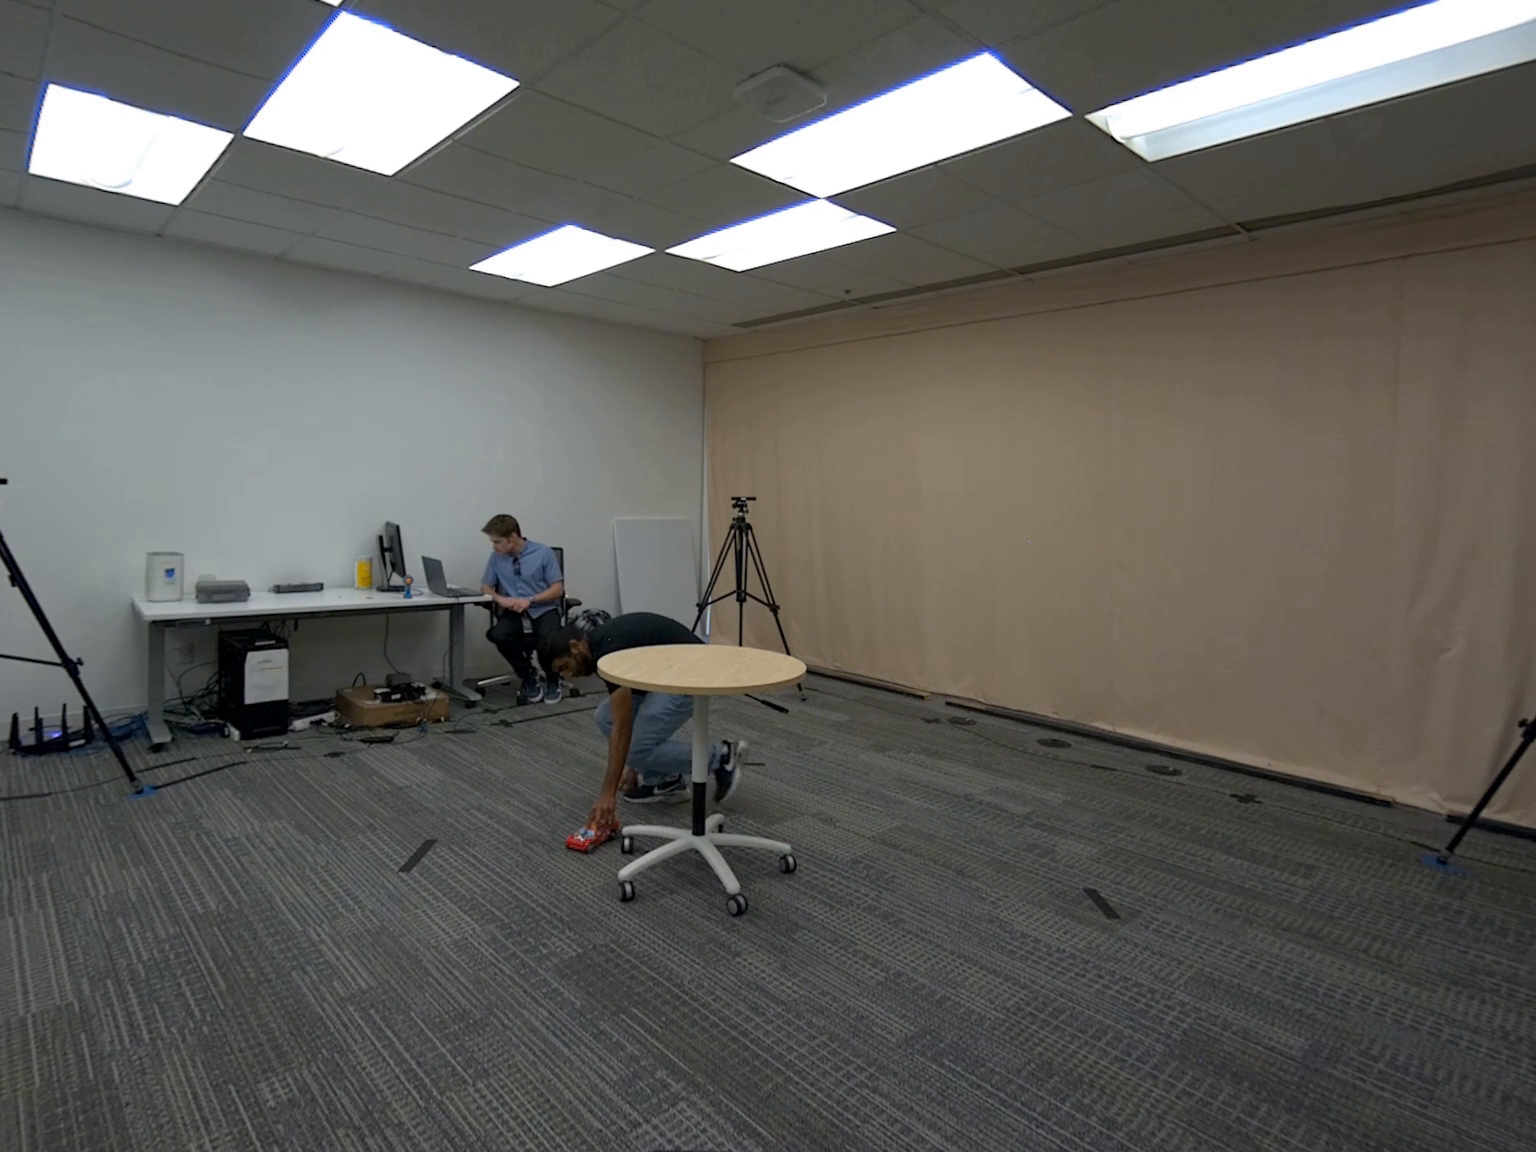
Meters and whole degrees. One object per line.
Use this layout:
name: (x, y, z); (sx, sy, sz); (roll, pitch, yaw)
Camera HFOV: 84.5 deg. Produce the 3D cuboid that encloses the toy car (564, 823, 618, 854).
toy car: (-0.707, 1.033, 3.382); (0.133, 0.082, 0.252); (2, 16, 28)
